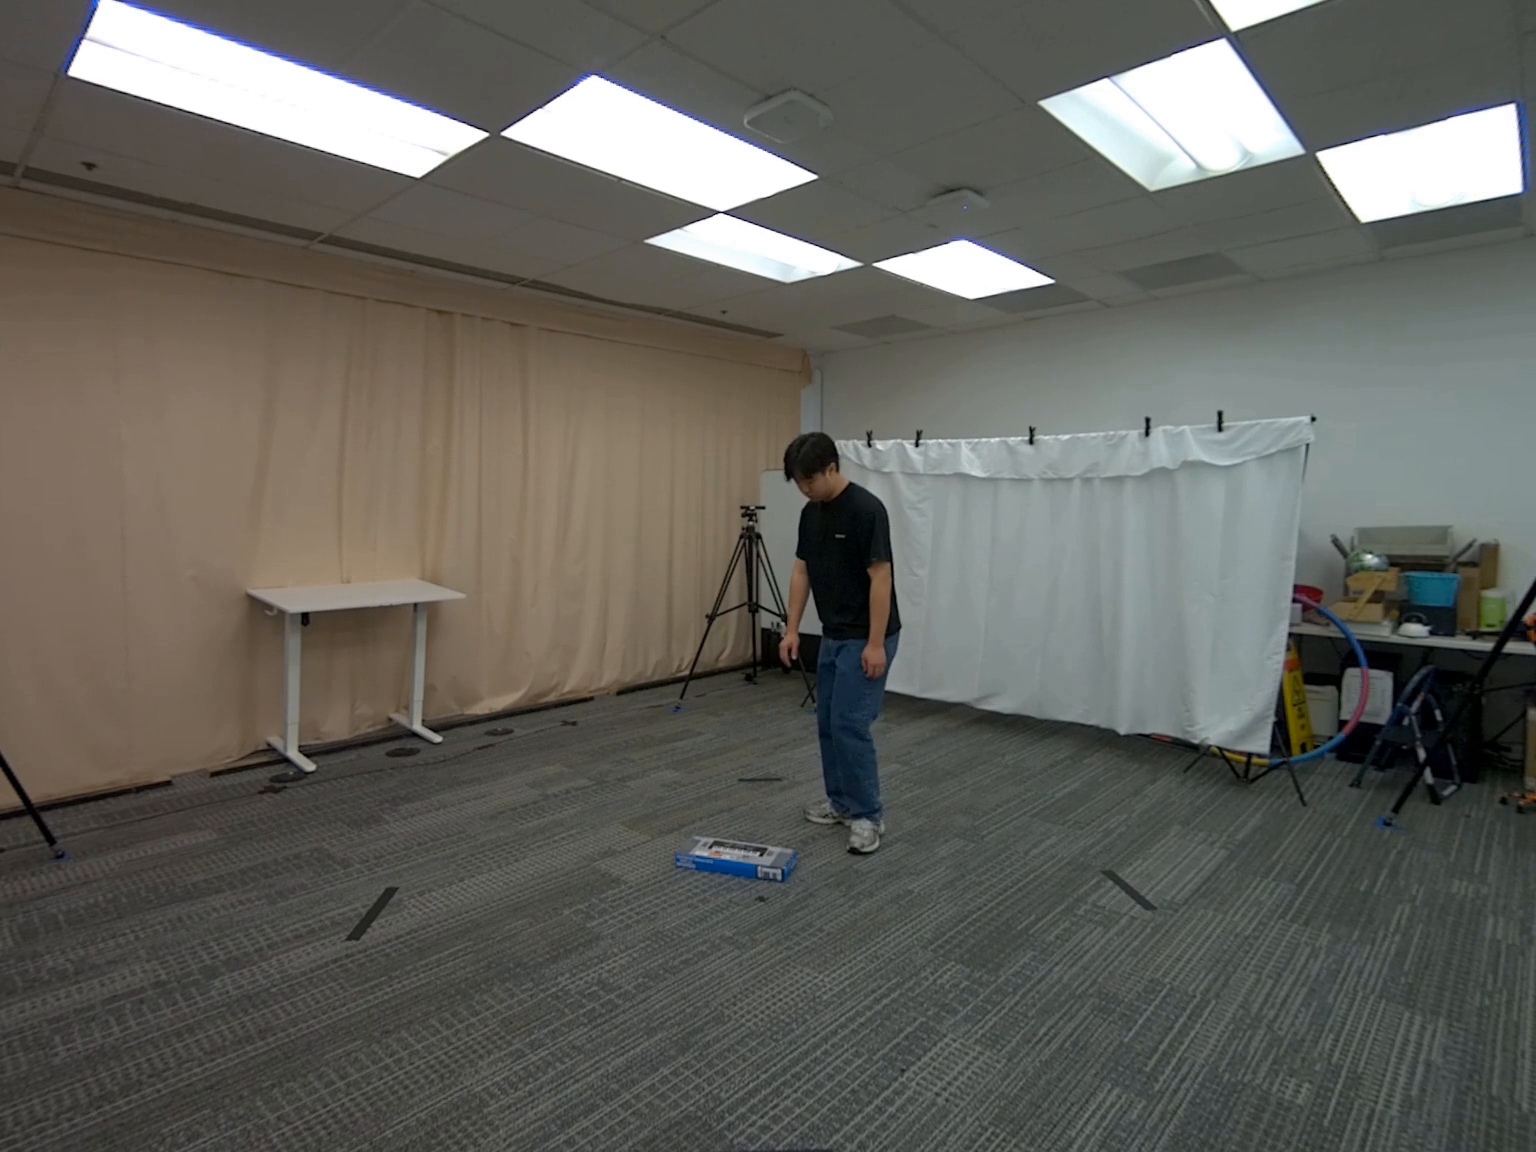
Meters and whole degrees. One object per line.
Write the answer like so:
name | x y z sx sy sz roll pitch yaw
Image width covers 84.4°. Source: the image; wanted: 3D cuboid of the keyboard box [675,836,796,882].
keyboard box | -0.124 1.091 3.255 0.446 0.059 0.173 1 6 20
